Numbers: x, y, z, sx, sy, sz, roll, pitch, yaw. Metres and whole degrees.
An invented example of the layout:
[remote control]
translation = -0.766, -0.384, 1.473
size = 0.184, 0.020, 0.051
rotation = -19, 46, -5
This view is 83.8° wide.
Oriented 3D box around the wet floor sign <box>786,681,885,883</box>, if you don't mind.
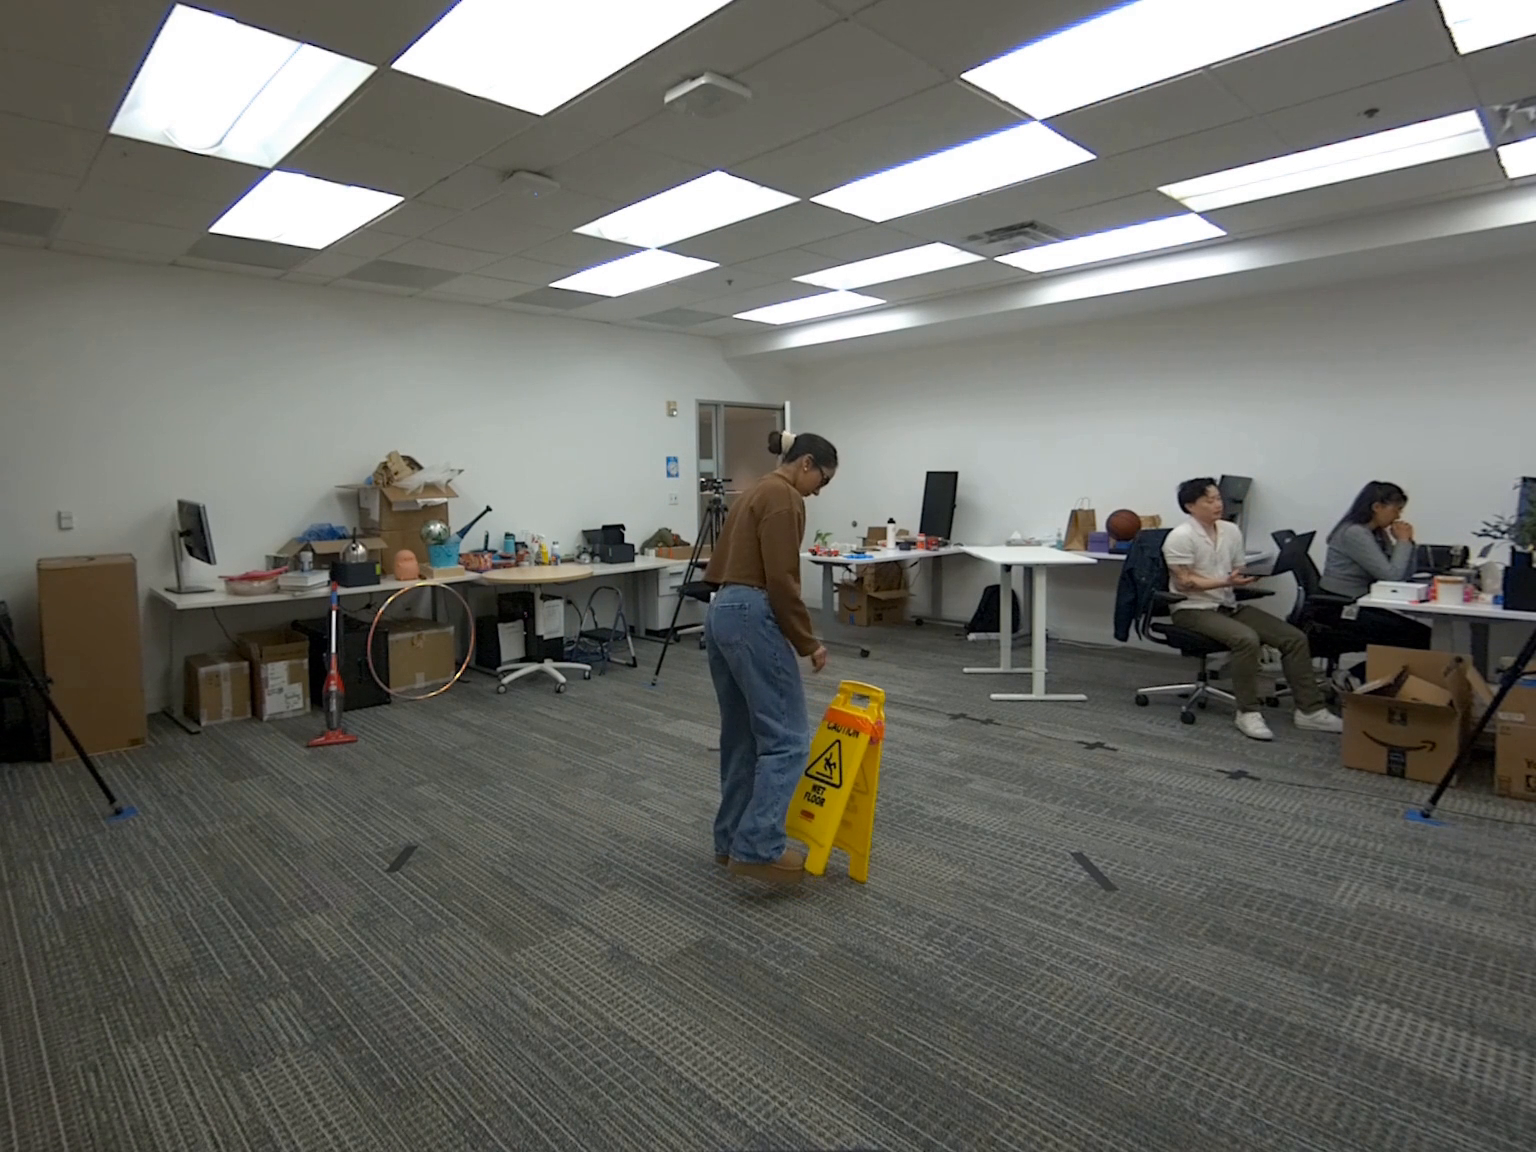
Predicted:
[wet floor sign]
translation = 0.252, 0.697, 3.026
size = 0.279, 0.650, 0.291
rotation = 24, -13, -38
